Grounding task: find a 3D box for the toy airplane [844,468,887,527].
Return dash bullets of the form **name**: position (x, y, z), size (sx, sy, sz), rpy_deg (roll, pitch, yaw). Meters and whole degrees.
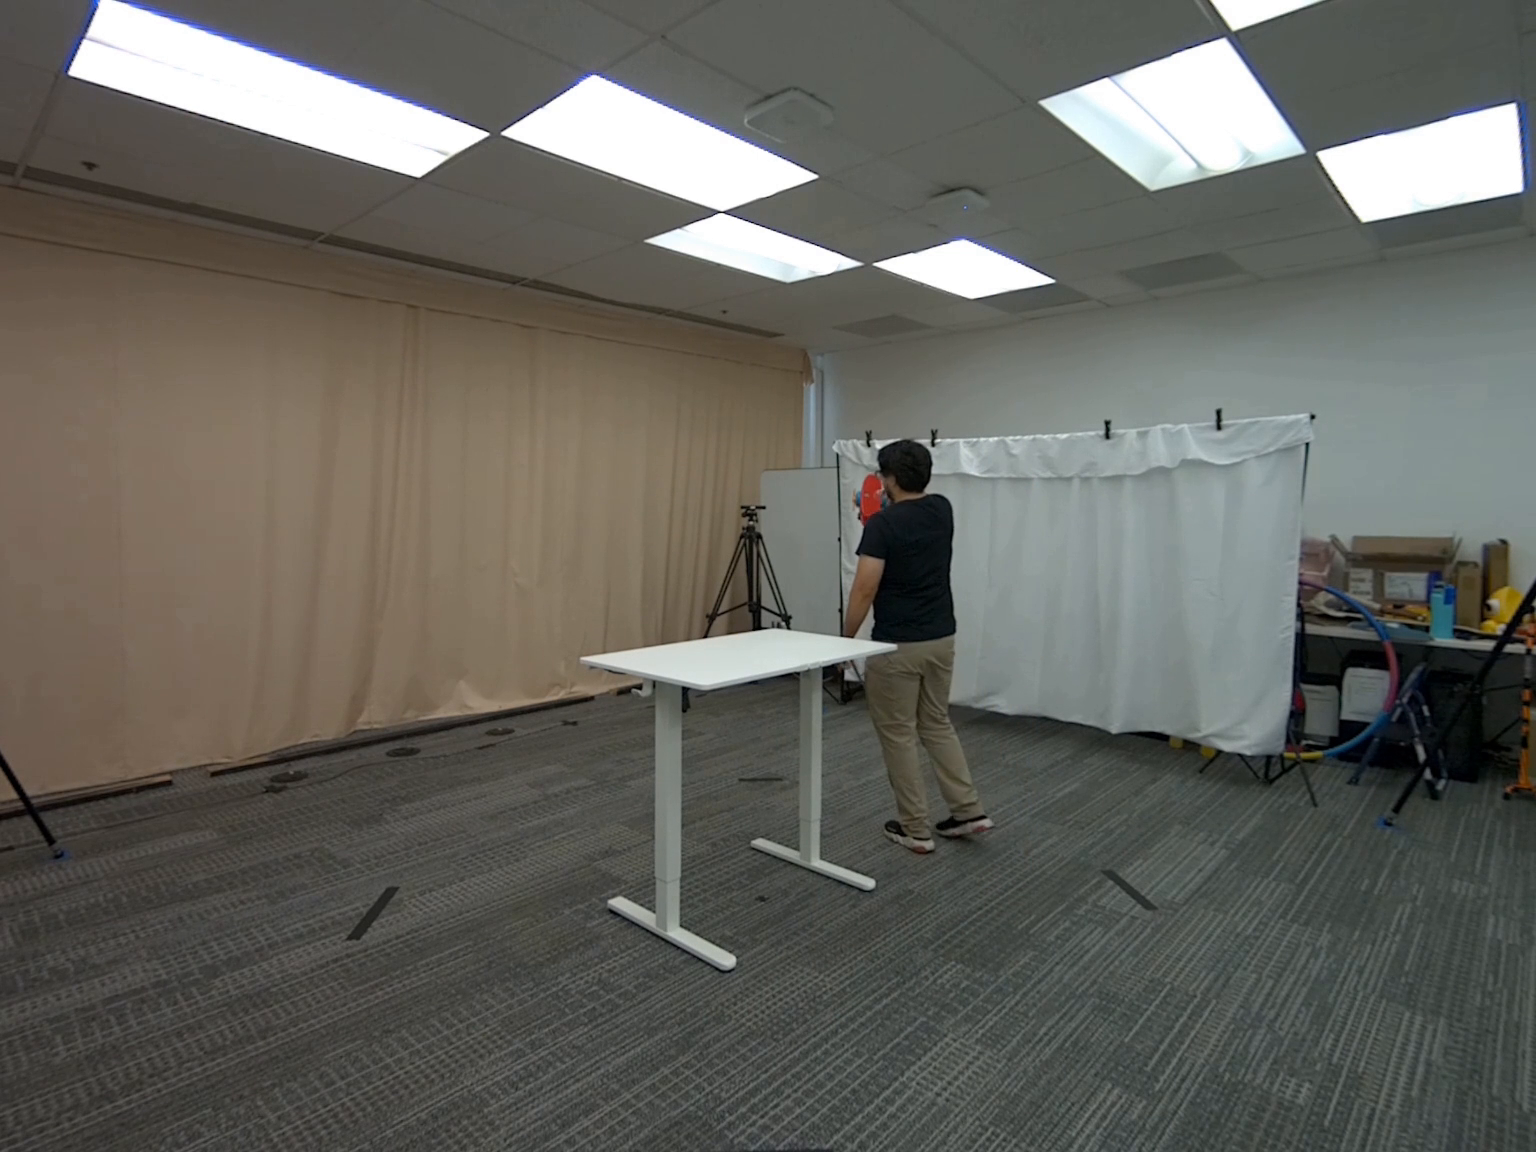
- **toy airplane**: position (0.551, -0.368, 4.103), size (0.260, 0.258, 0.151), rpy_deg (-26, -37, 3)
